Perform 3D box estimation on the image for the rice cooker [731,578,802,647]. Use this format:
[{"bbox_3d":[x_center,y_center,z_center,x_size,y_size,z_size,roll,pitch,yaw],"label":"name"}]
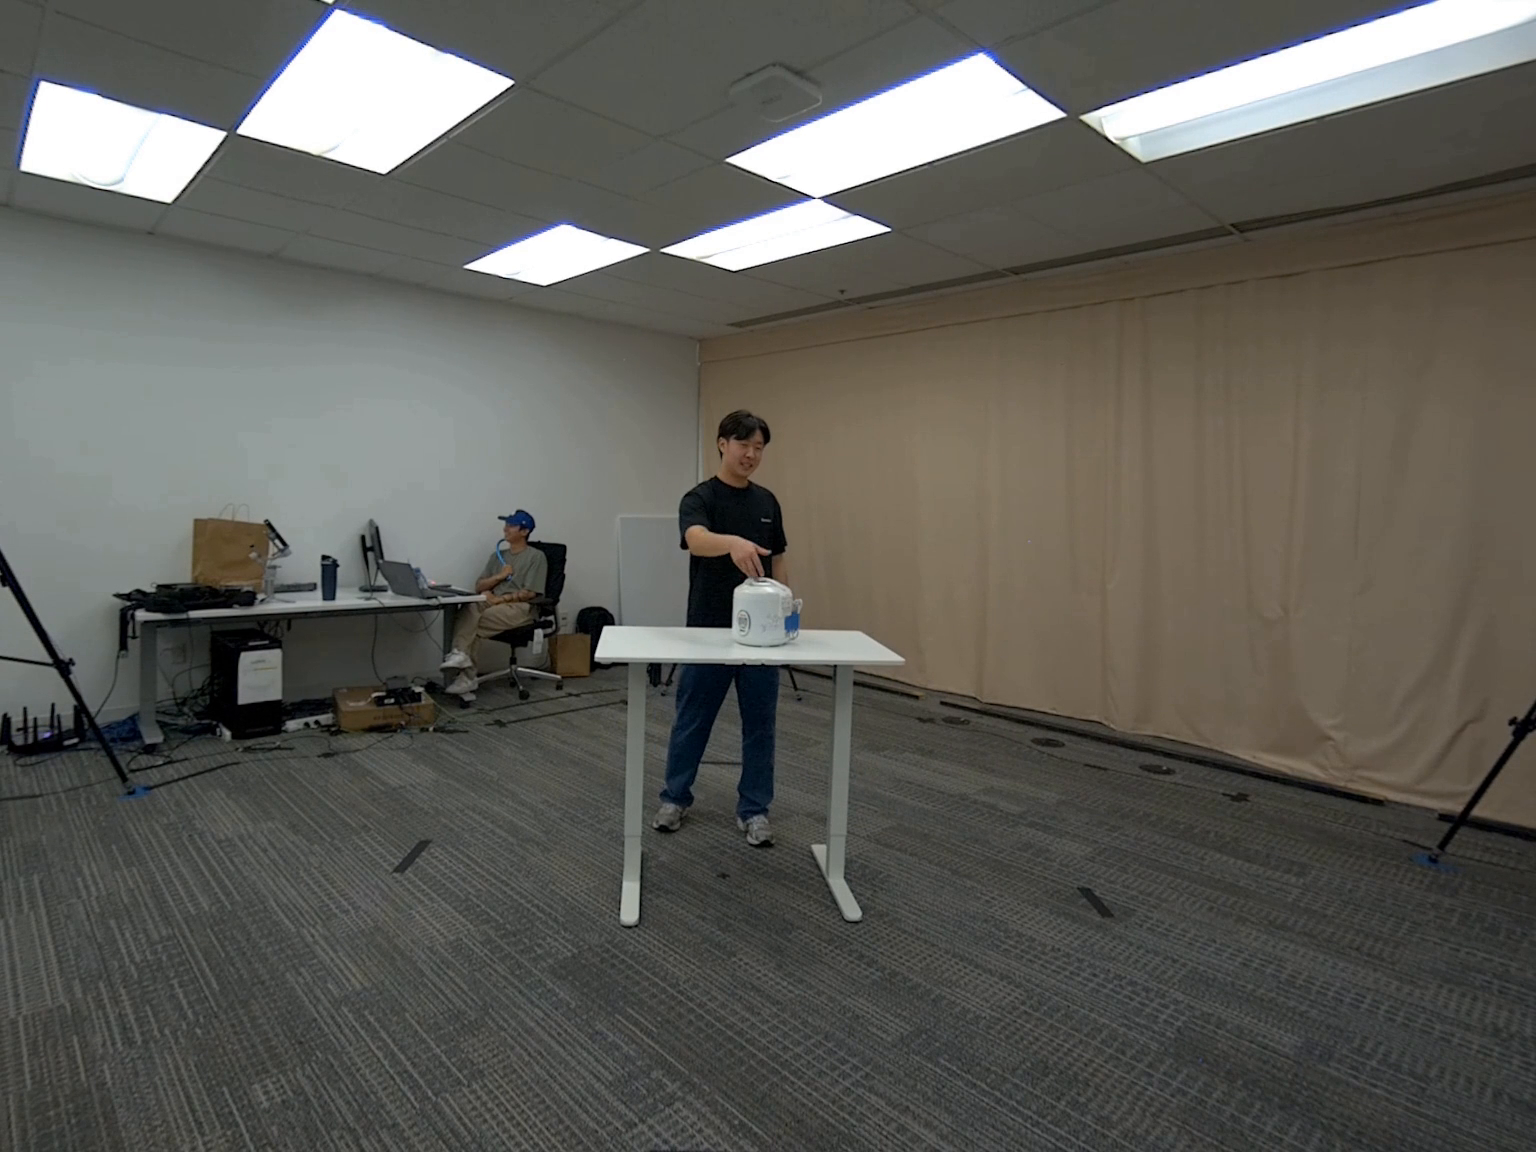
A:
[{"bbox_3d":[-0.027,0.125,2.971,0.226,0.232,0.212,6,4,38],"label":"rice cooker"}]
